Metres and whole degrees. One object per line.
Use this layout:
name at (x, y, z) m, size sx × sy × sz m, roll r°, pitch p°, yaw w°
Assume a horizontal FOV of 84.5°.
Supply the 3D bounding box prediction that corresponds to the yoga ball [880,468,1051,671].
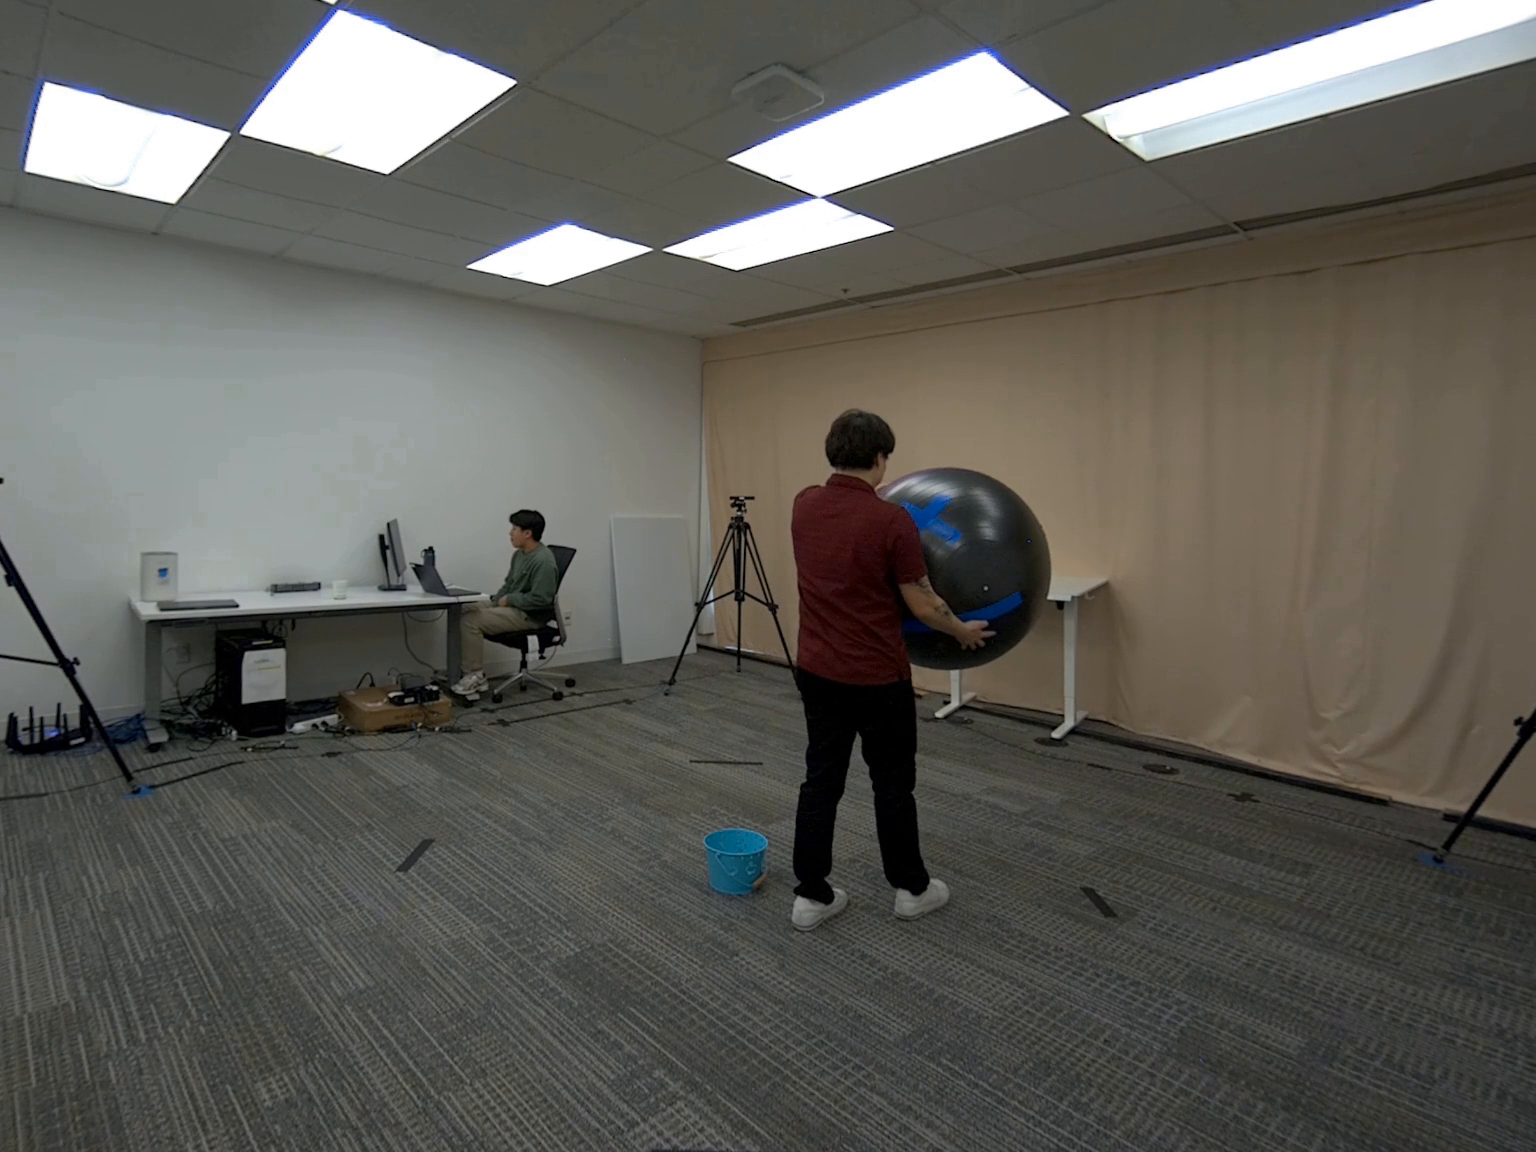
yoga ball at (0.665, -0.023, 3.179) m, size 0.757 × 0.756 × 0.761 m, roll 1°, pitch 4°, yaw -1°
